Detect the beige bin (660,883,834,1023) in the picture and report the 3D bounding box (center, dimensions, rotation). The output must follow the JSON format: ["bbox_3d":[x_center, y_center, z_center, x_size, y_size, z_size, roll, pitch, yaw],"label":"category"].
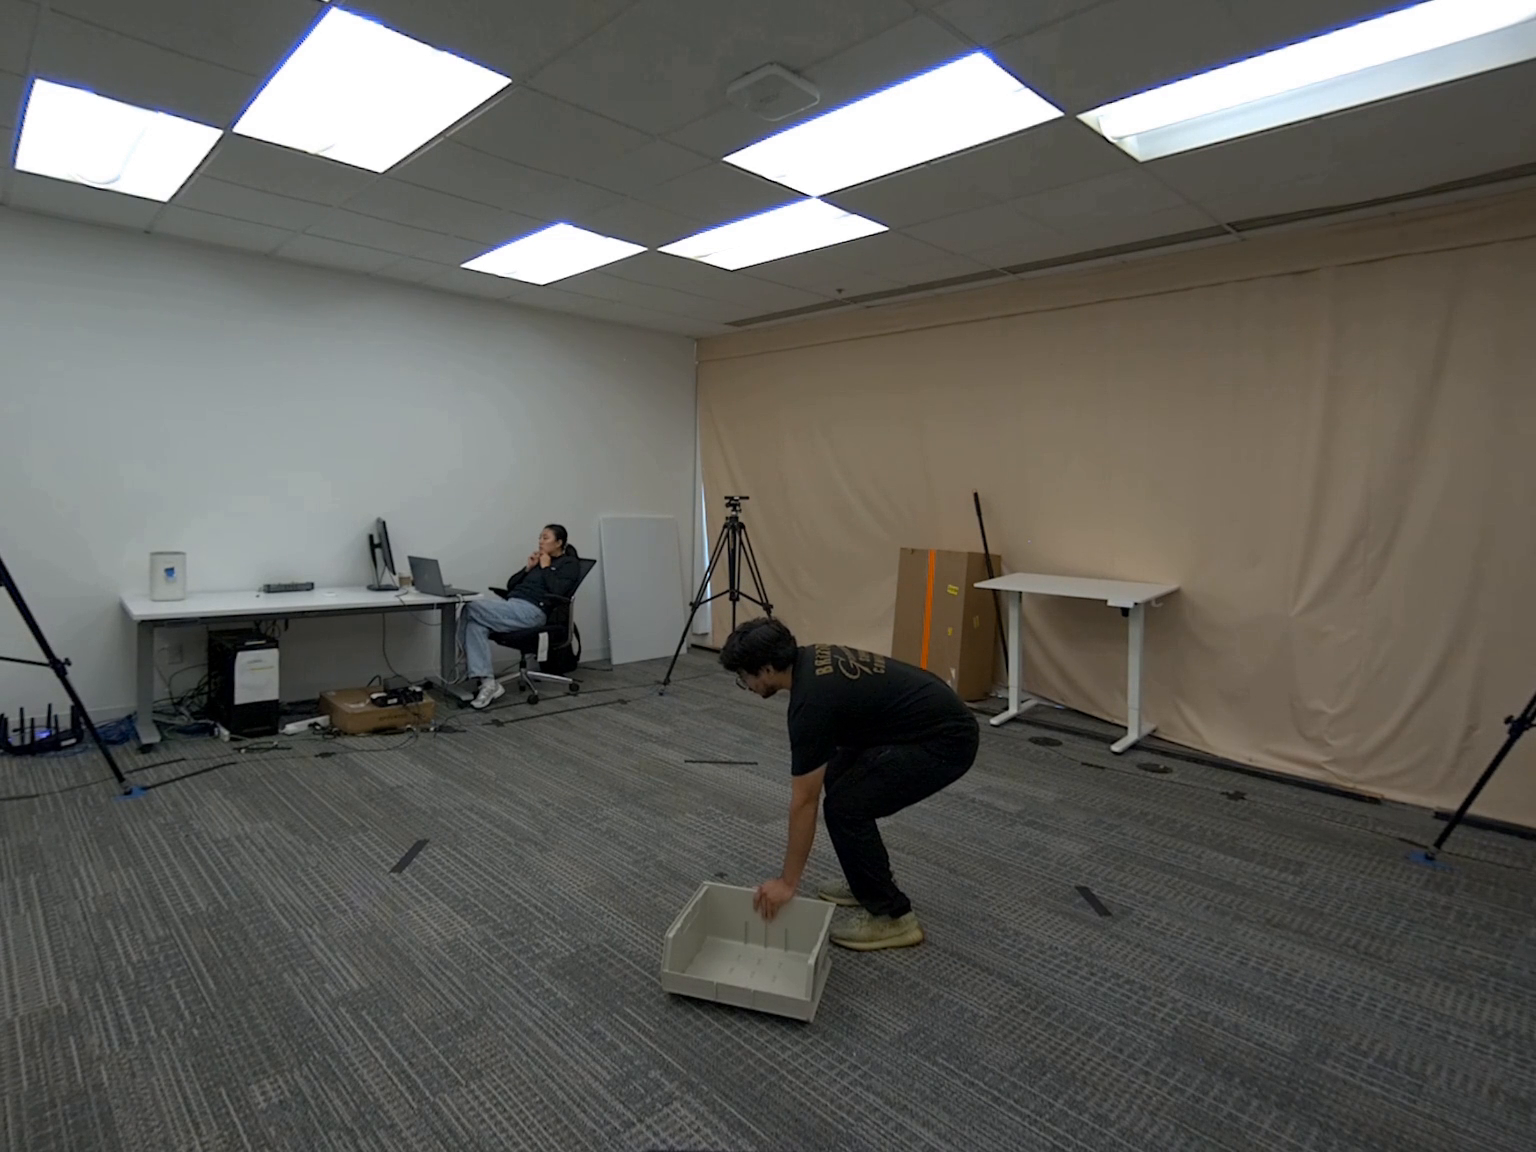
[{"bbox_3d":[-0.048,1.083,2.416,0.428,0.188,0.373,2,3,15],"label":"beige bin"}]
